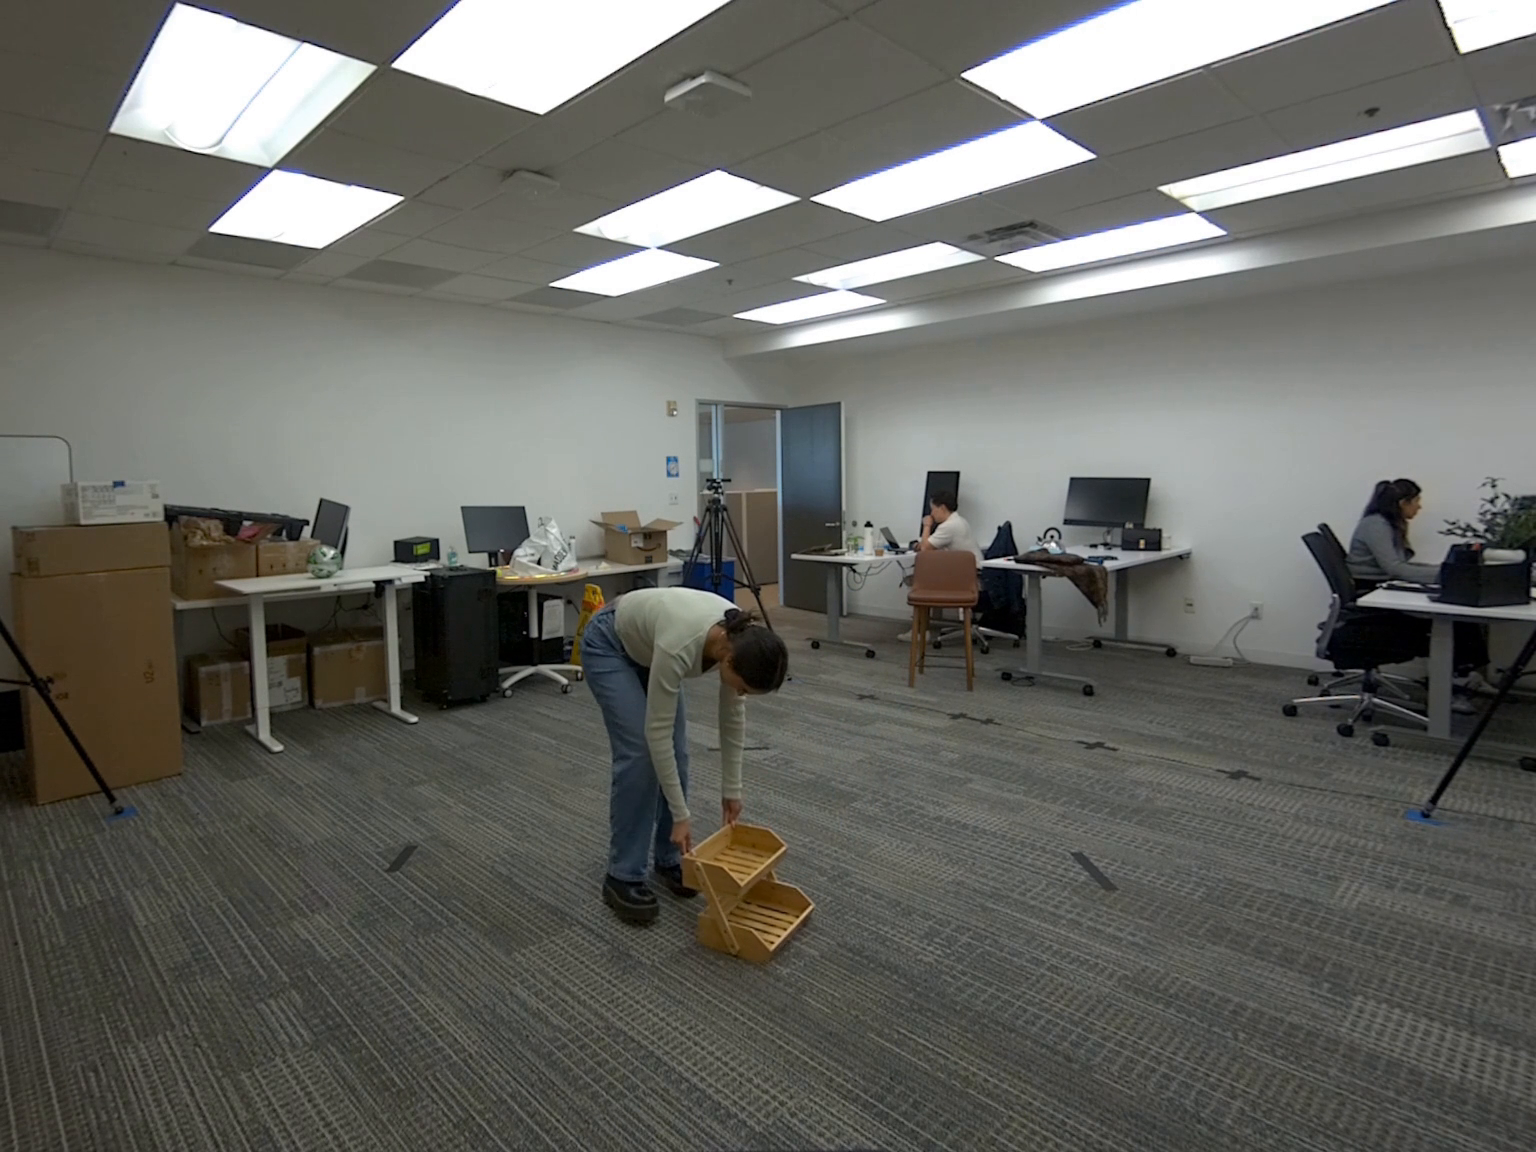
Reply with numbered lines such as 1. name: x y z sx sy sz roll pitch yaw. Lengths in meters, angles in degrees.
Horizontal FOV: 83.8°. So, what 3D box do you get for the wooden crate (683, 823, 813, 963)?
1. wooden crate: -0.049 0.966 2.644 0.310 0.272 0.317 1 5 29
